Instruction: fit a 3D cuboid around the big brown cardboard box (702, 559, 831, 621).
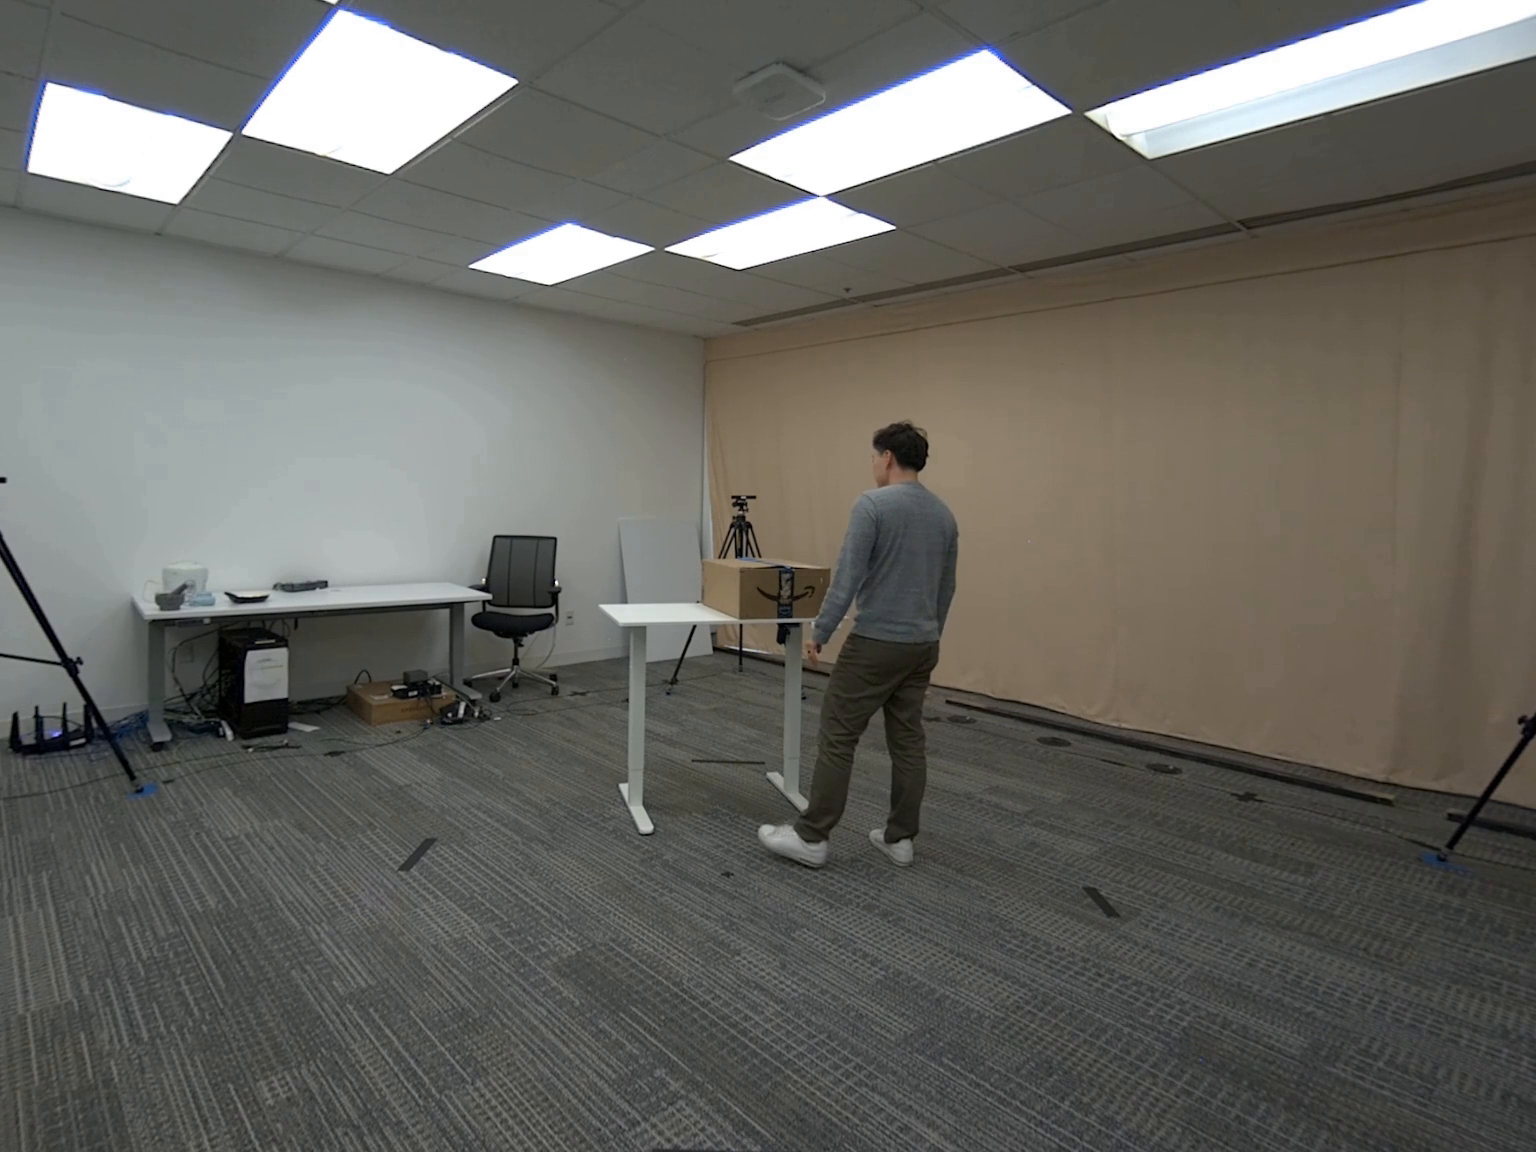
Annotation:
[{"bbox_3d":[-0.036,0.049,3.836,0.411,0.232,0.599,-1,4,-21],"label":"big brown cardboard box"}]
